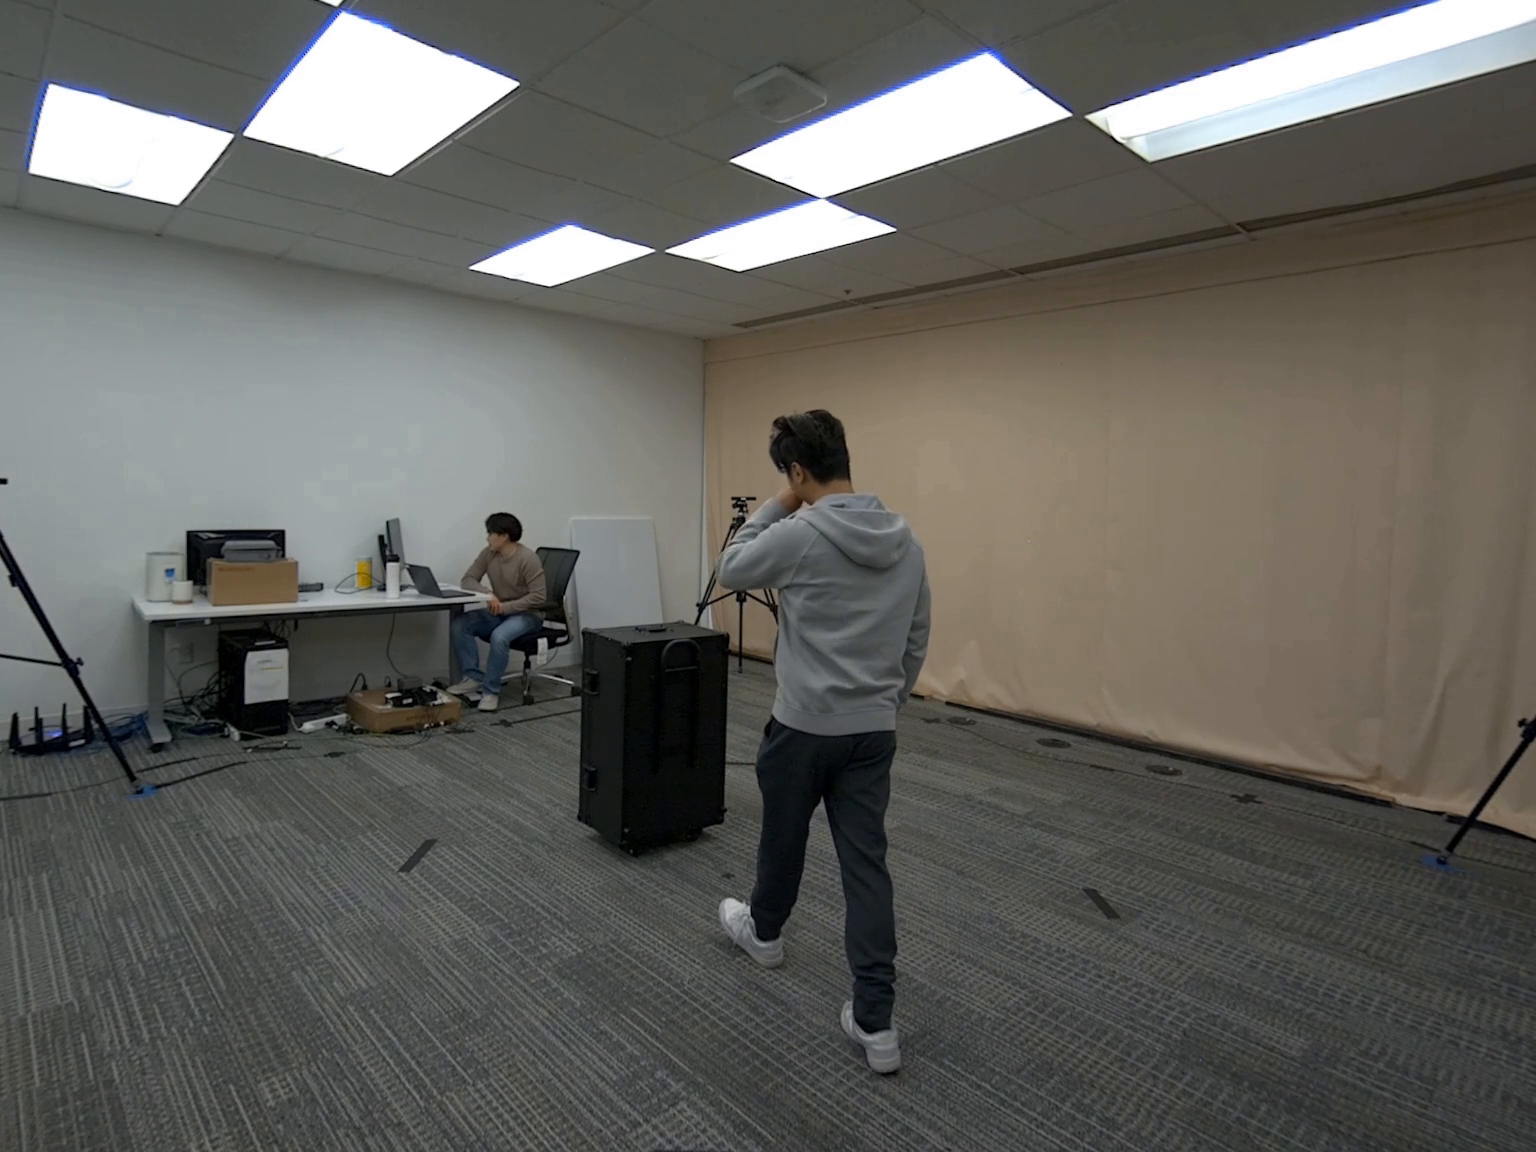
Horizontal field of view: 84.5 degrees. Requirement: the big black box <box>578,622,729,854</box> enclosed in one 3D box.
[{"bbox_3d":[-0.460,0.649,3.406,0.509,0.859,0.406,-1,5,-38],"label":"big black box"}]
